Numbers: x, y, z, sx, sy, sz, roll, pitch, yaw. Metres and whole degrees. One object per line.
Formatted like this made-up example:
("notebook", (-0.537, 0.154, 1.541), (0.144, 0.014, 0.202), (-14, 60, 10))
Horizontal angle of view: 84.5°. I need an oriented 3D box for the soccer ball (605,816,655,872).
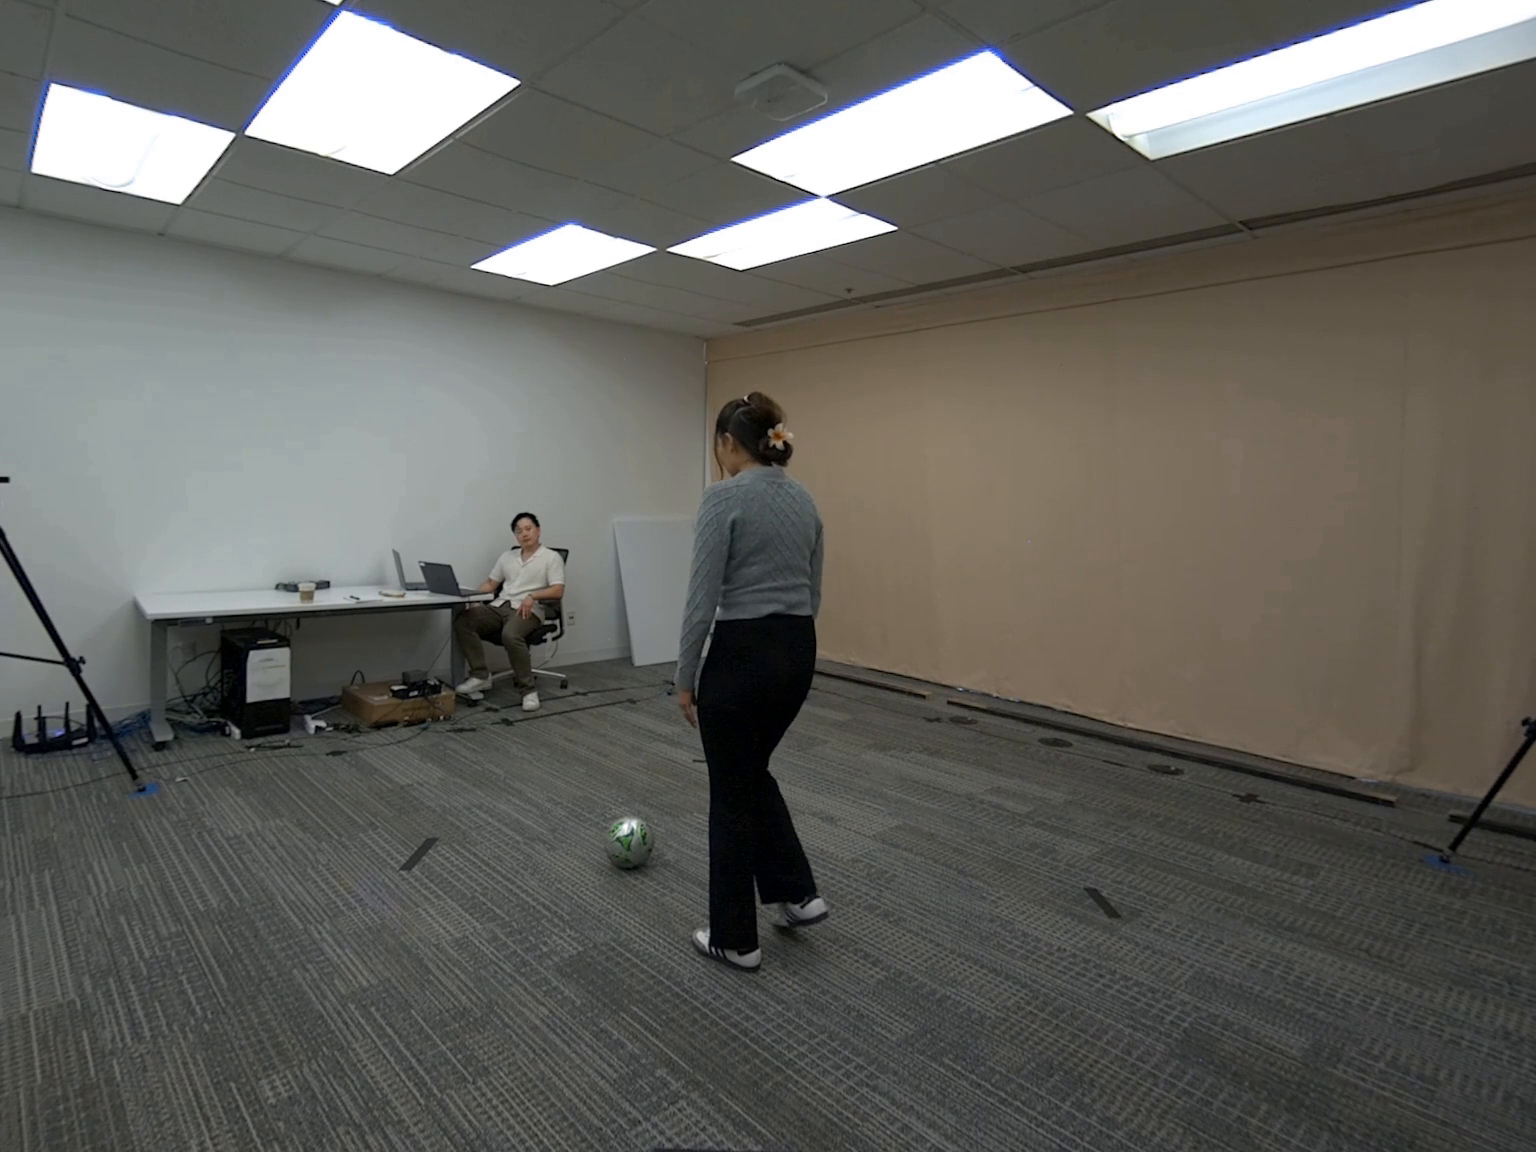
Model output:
("soccer ball", (-0.532, 0.996, 3.149), (0.187, 0.187, 0.188), (1, 4, -1))
